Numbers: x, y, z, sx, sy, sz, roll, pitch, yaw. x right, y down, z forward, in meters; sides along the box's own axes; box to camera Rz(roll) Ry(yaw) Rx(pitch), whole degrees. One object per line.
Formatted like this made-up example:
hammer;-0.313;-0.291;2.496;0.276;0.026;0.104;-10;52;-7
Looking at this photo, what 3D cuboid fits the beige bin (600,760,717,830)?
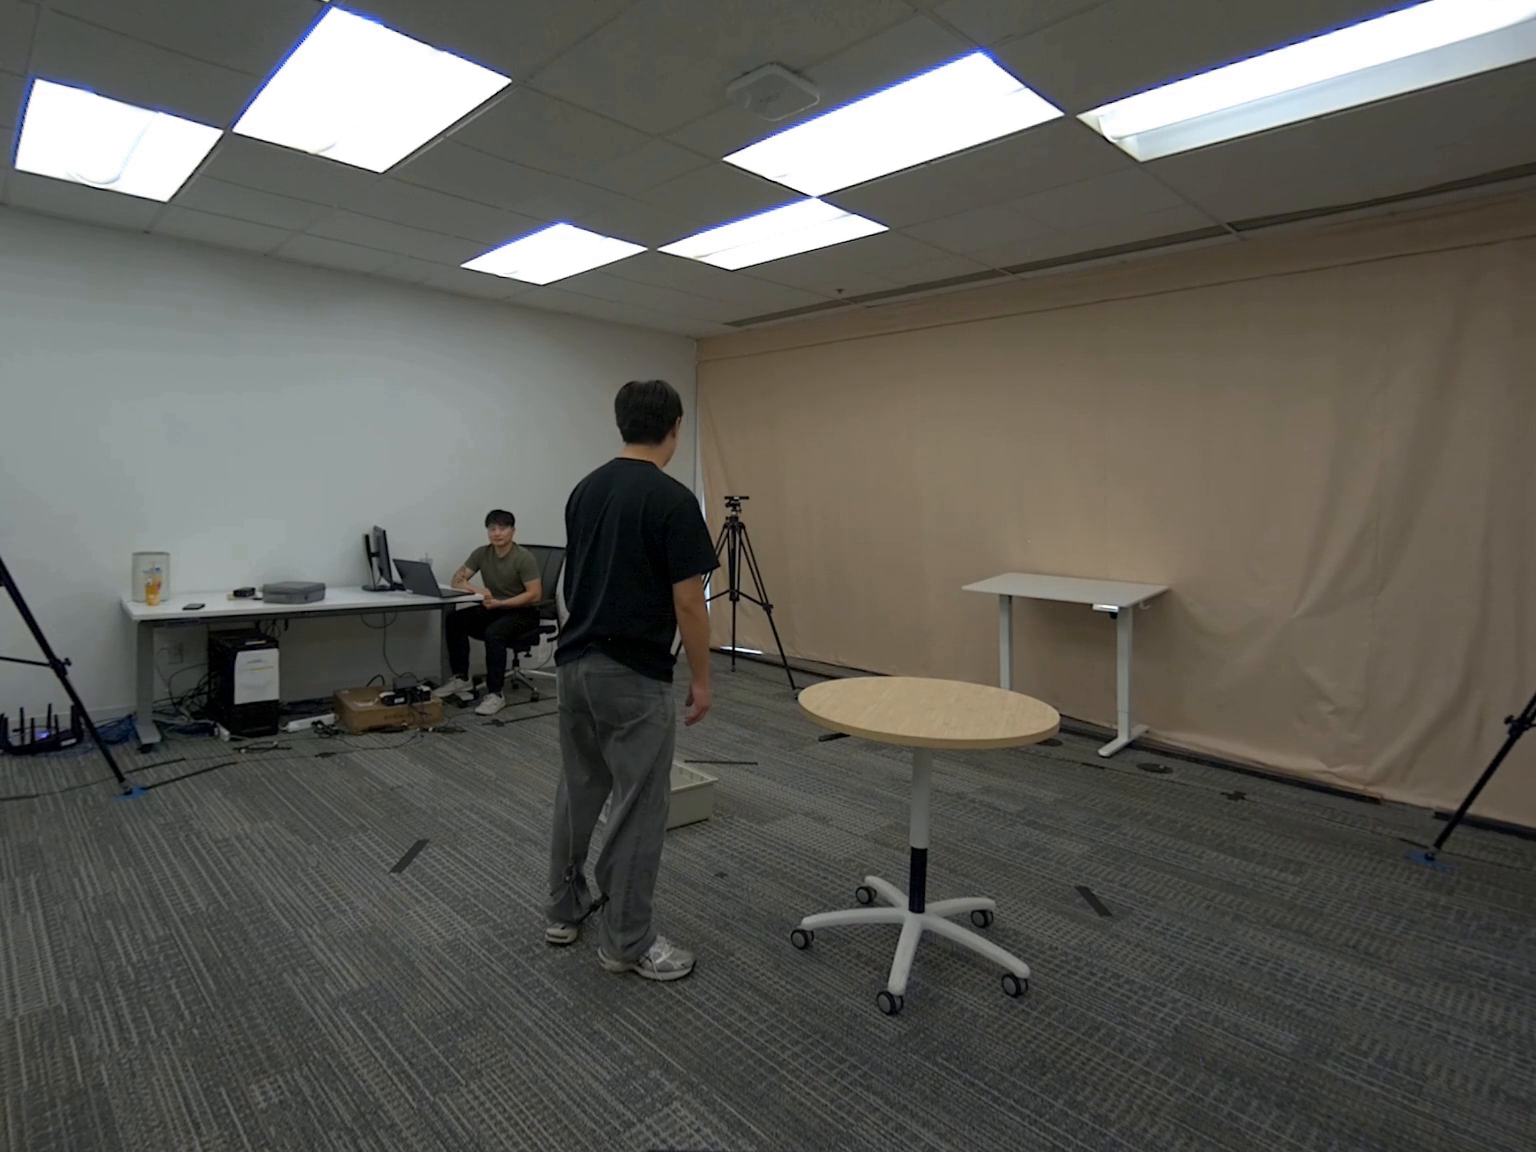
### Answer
beige bin;-0.504;0.957;3.651;0.412;0.188;0.387;-2;7;-41
